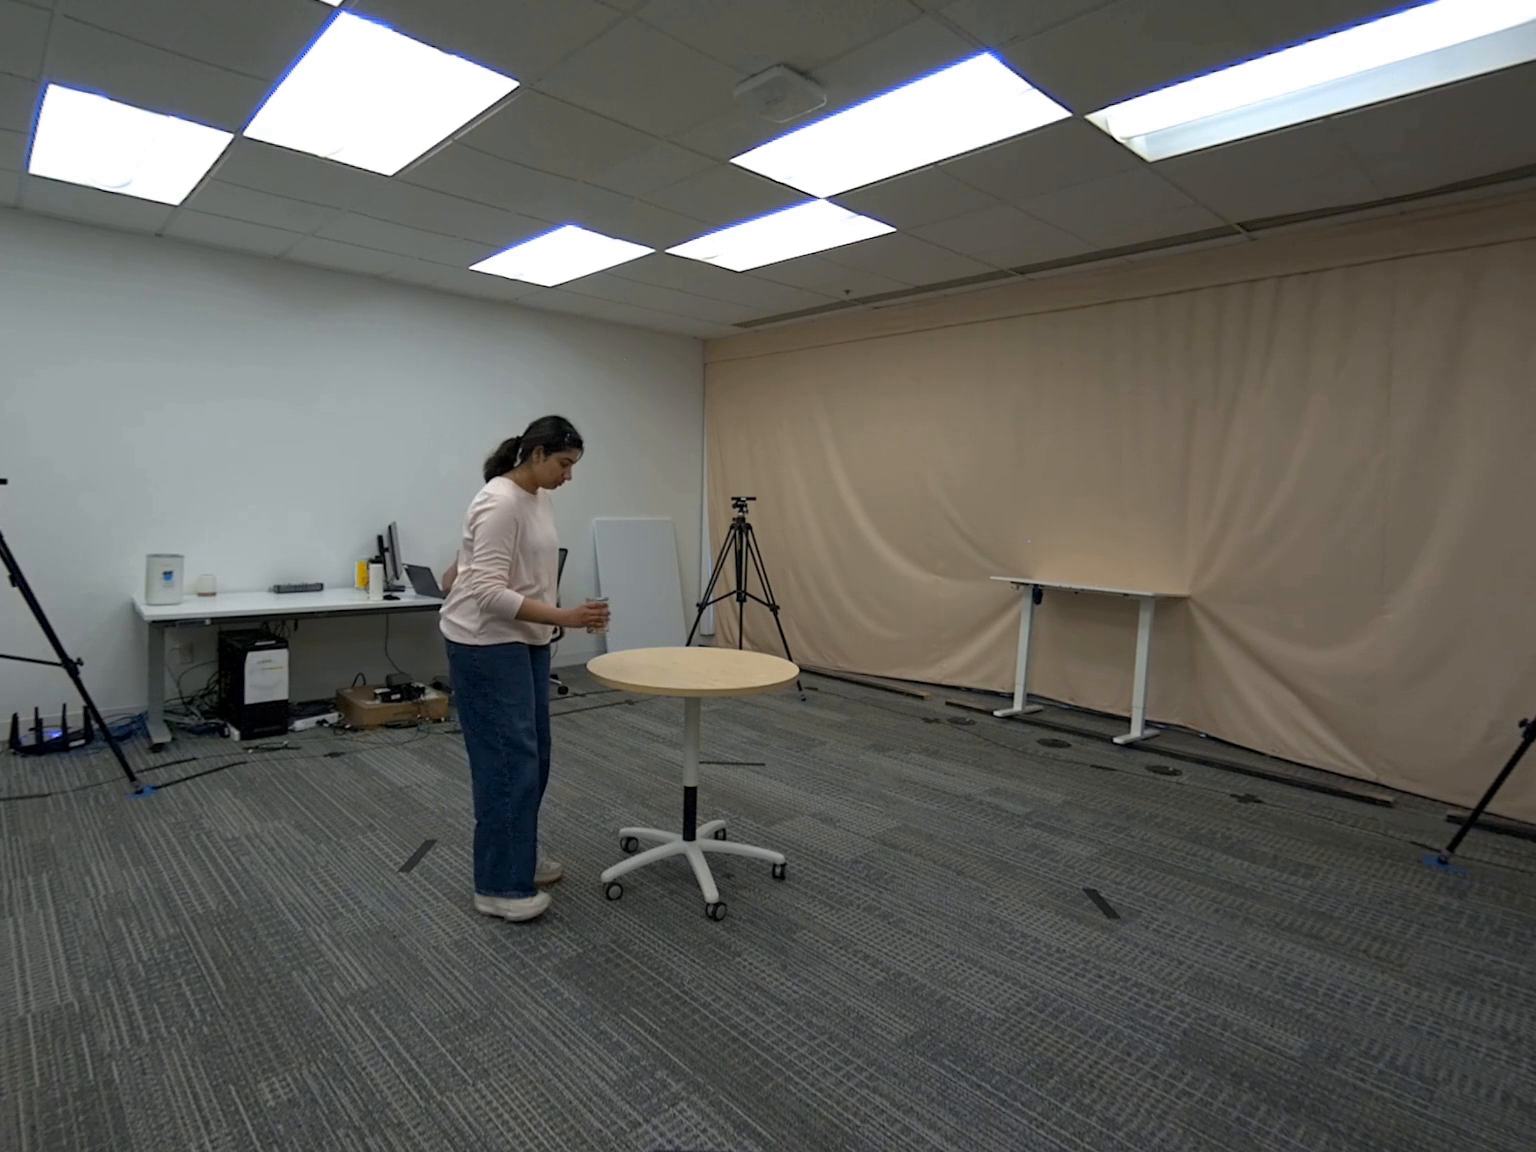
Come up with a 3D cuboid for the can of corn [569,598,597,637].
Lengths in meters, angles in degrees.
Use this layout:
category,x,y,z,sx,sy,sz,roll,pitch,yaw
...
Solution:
category,x,y,z,sx,sy,sz,roll,pitch,yaw
can of corn,-0.601,0.133,2.764,0.074,0.112,0.074,-8,-7,-2
